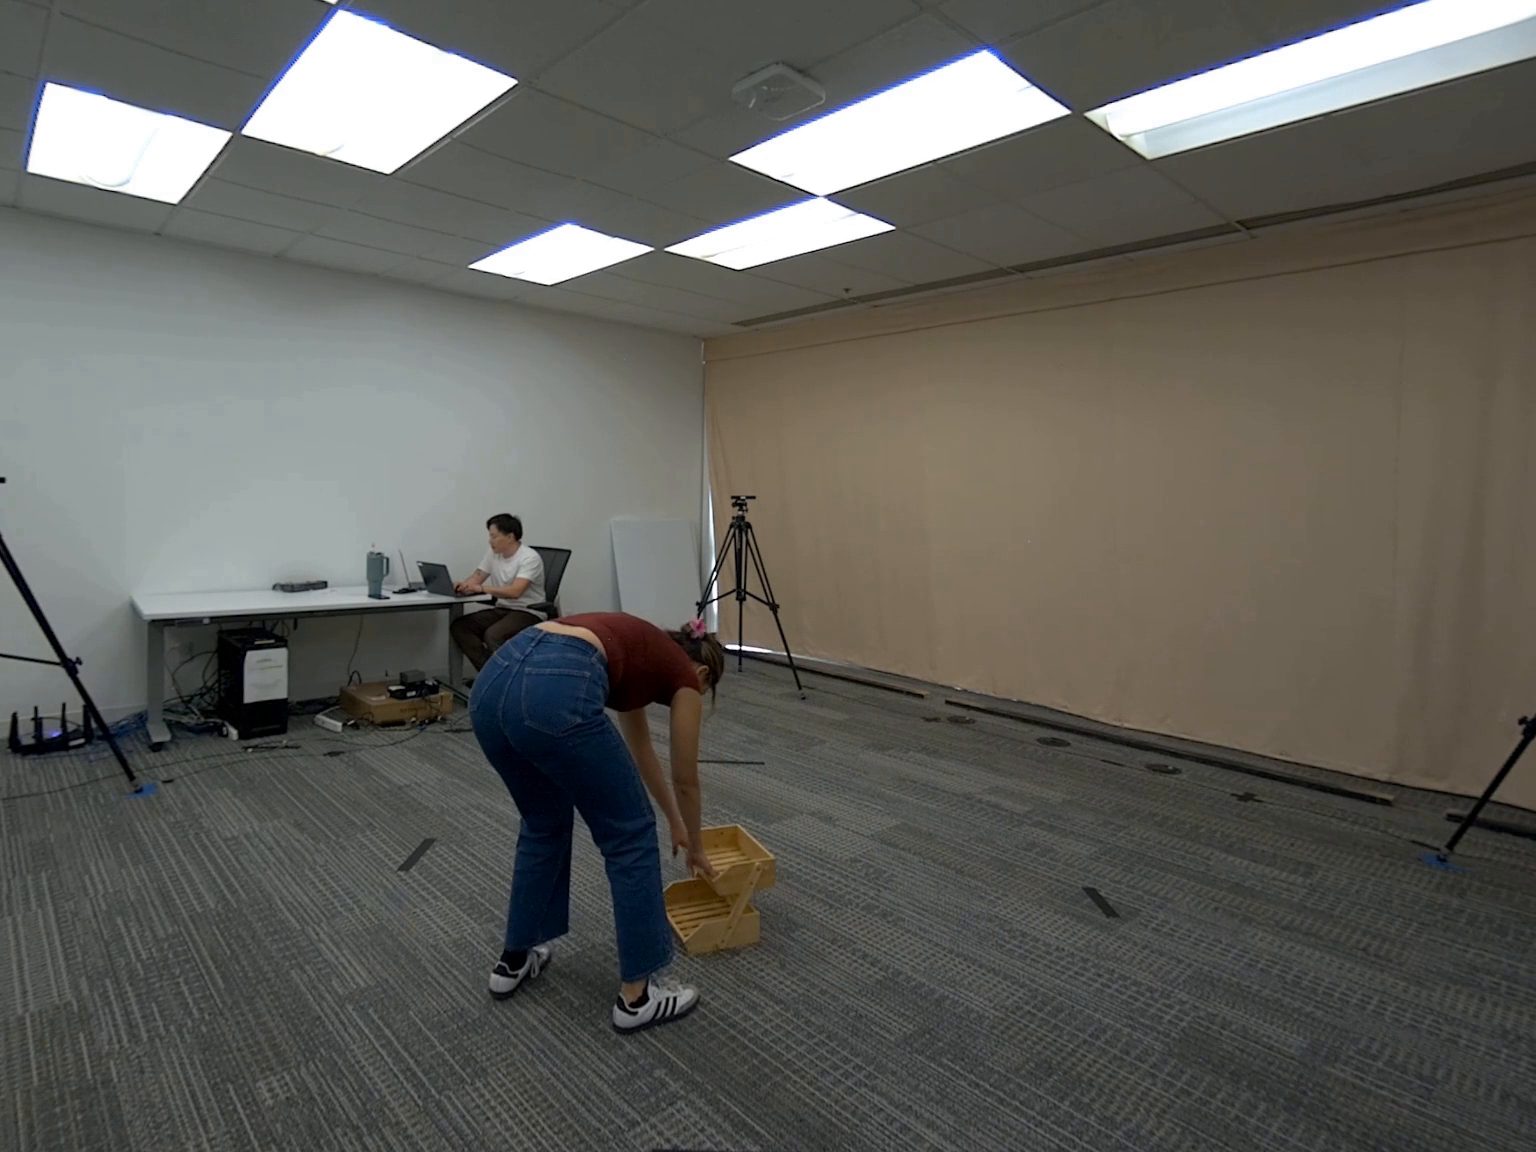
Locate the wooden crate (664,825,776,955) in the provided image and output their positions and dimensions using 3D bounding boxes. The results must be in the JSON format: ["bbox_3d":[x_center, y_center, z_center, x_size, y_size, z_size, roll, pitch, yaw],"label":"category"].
[{"bbox_3d":[-0.190,1.001,2.729,0.296,0.273,0.331,-1,4,-25],"label":"wooden crate"}]
